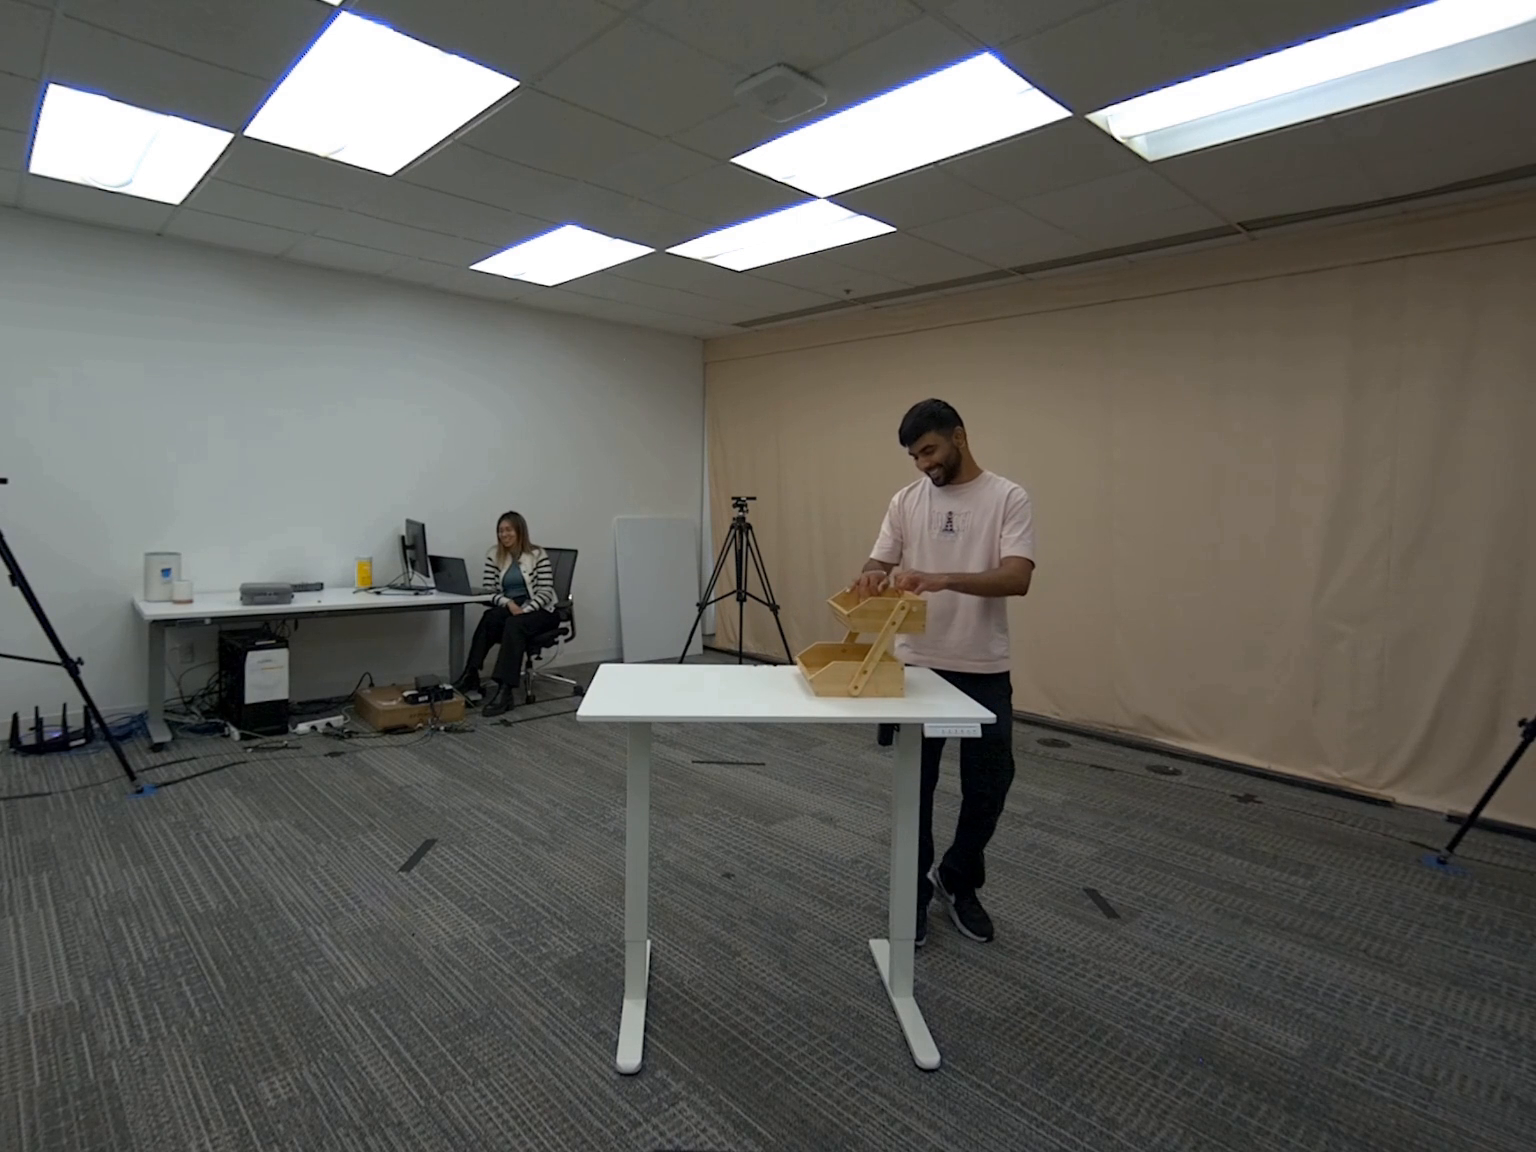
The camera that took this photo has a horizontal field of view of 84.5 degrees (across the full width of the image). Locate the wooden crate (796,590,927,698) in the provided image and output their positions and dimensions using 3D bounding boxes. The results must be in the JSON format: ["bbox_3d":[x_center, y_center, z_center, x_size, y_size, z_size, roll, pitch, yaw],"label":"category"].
[{"bbox_3d":[0.240,0.179,2.315,0.301,0.272,0.327,1,6,-5],"label":"wooden crate"}]
